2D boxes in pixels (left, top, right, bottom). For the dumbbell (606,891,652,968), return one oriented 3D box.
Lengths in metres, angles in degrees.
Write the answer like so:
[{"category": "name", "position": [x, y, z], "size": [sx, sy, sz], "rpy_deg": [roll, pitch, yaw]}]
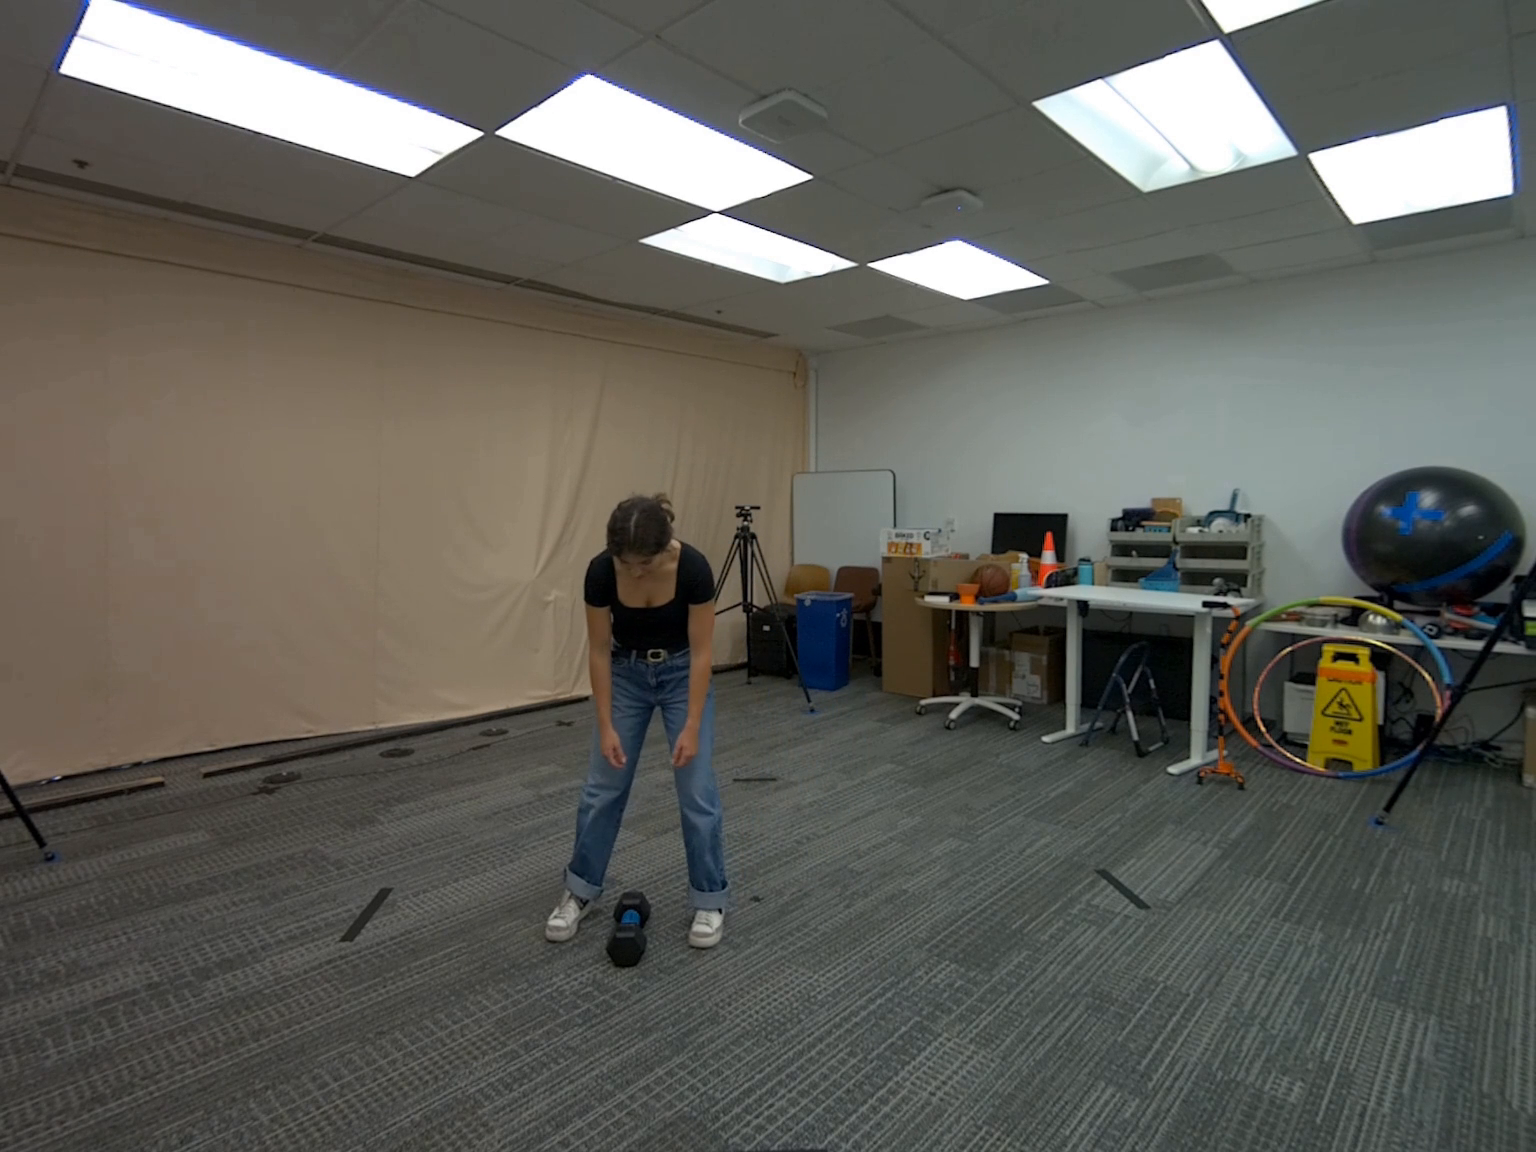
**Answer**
[{"category": "dumbbell", "position": [-0.442, 1.116, 2.677], "size": [0.108, 0.123, 0.295], "rpy_deg": [30, 2, -6]}]
